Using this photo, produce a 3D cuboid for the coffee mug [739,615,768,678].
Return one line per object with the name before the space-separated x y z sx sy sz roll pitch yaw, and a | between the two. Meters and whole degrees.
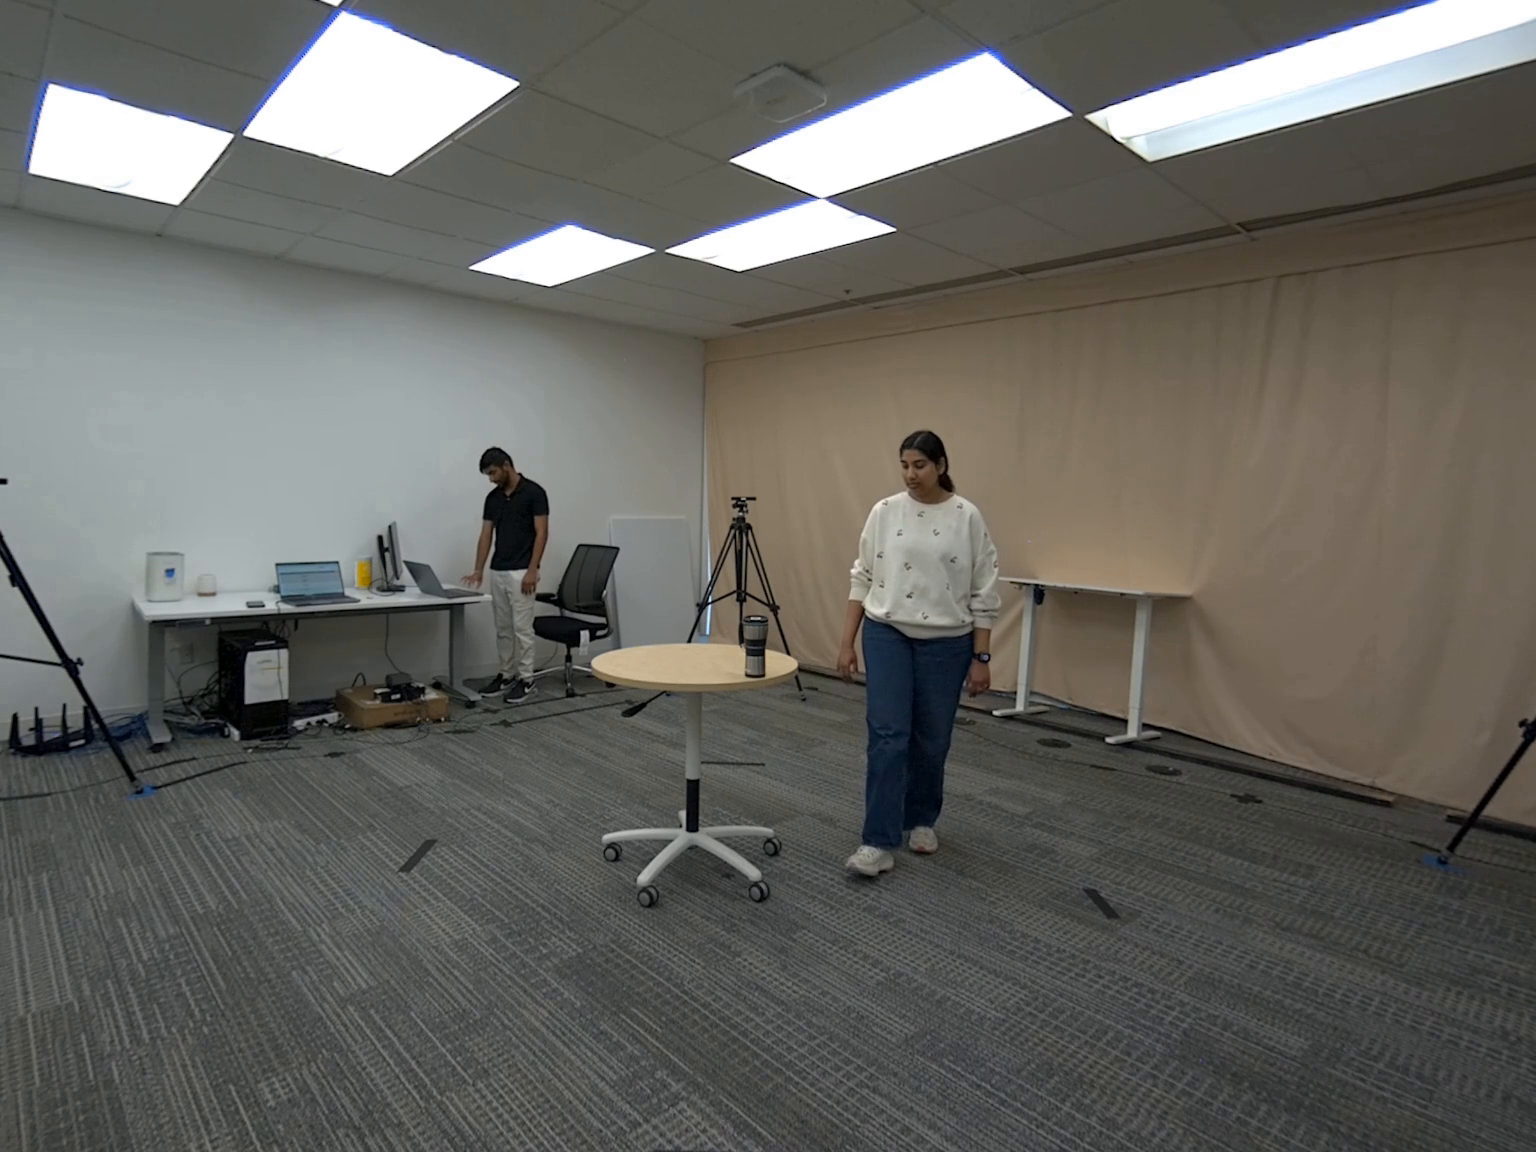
coffee mug | -0.057 0.241 2.901 0.086 0.202 0.124 -2 8 -22
